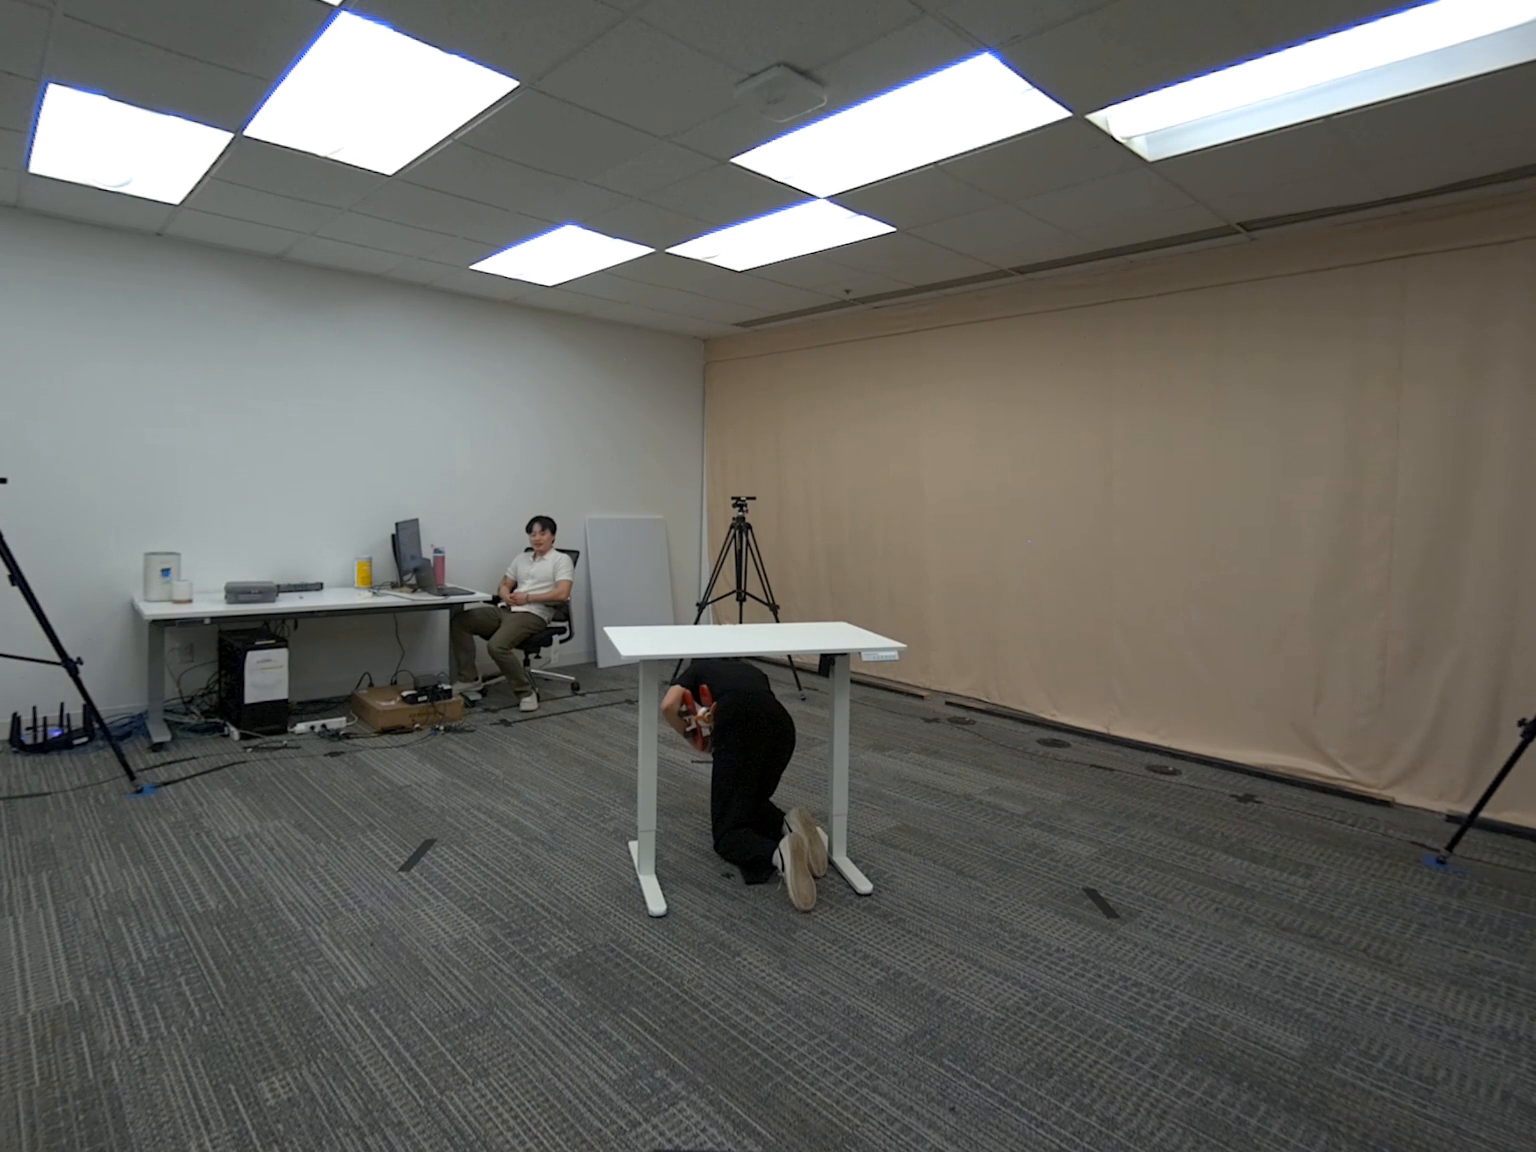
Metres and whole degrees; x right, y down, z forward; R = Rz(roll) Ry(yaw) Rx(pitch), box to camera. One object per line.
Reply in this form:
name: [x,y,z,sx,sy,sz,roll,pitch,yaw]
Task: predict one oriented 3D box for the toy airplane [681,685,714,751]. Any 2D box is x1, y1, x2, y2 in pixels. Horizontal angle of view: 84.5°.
toy airplane: [-0.318,0.569,3.510,0.155,0.247,0.266,-11,22,-17]
